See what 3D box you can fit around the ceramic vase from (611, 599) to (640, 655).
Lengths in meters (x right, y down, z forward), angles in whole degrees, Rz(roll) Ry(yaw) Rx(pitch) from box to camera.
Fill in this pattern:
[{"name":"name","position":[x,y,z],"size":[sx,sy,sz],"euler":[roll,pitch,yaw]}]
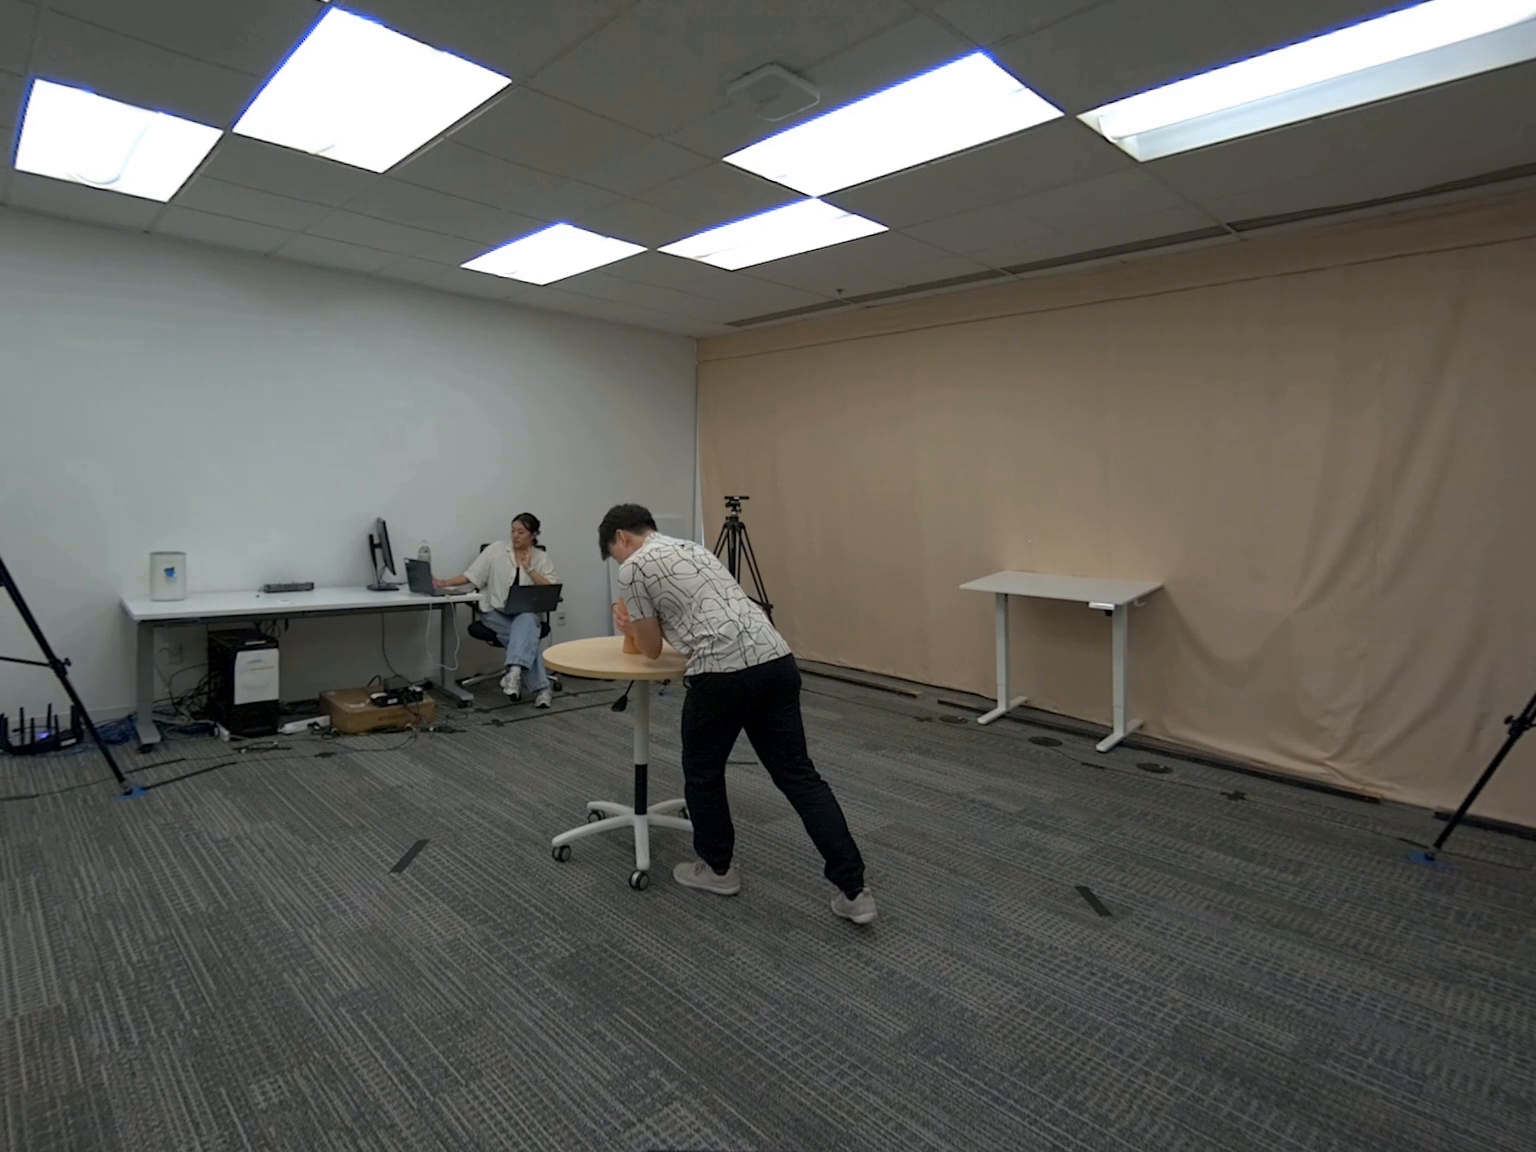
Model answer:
[{"name":"ceramic vase","position":[-0.518,0.187,3.282],"size":[0.131,0.219,0.163],"euler":[0,3,-43]}]
